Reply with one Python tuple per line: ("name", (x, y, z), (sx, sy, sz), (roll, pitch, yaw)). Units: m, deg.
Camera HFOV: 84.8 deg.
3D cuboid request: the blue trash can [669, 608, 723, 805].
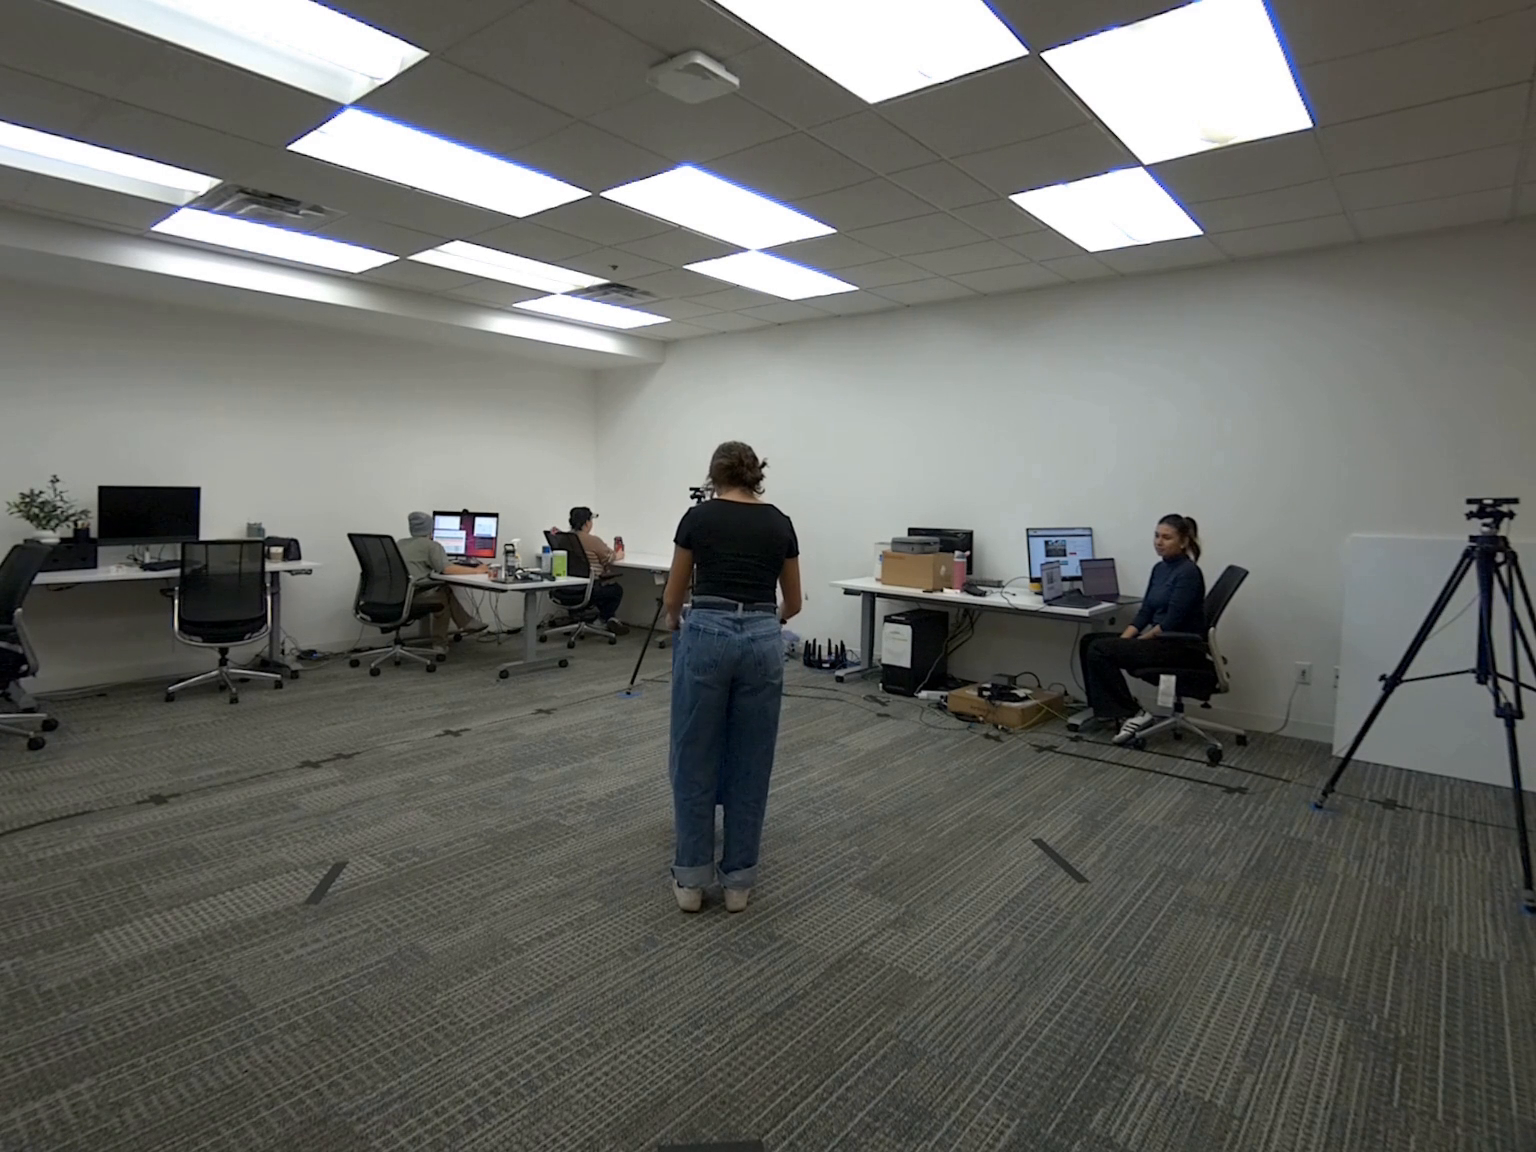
("blue trash can", (-0.222, 0.506, 3.365), (0.369, 0.710, 0.385), (4, 6, -12))
